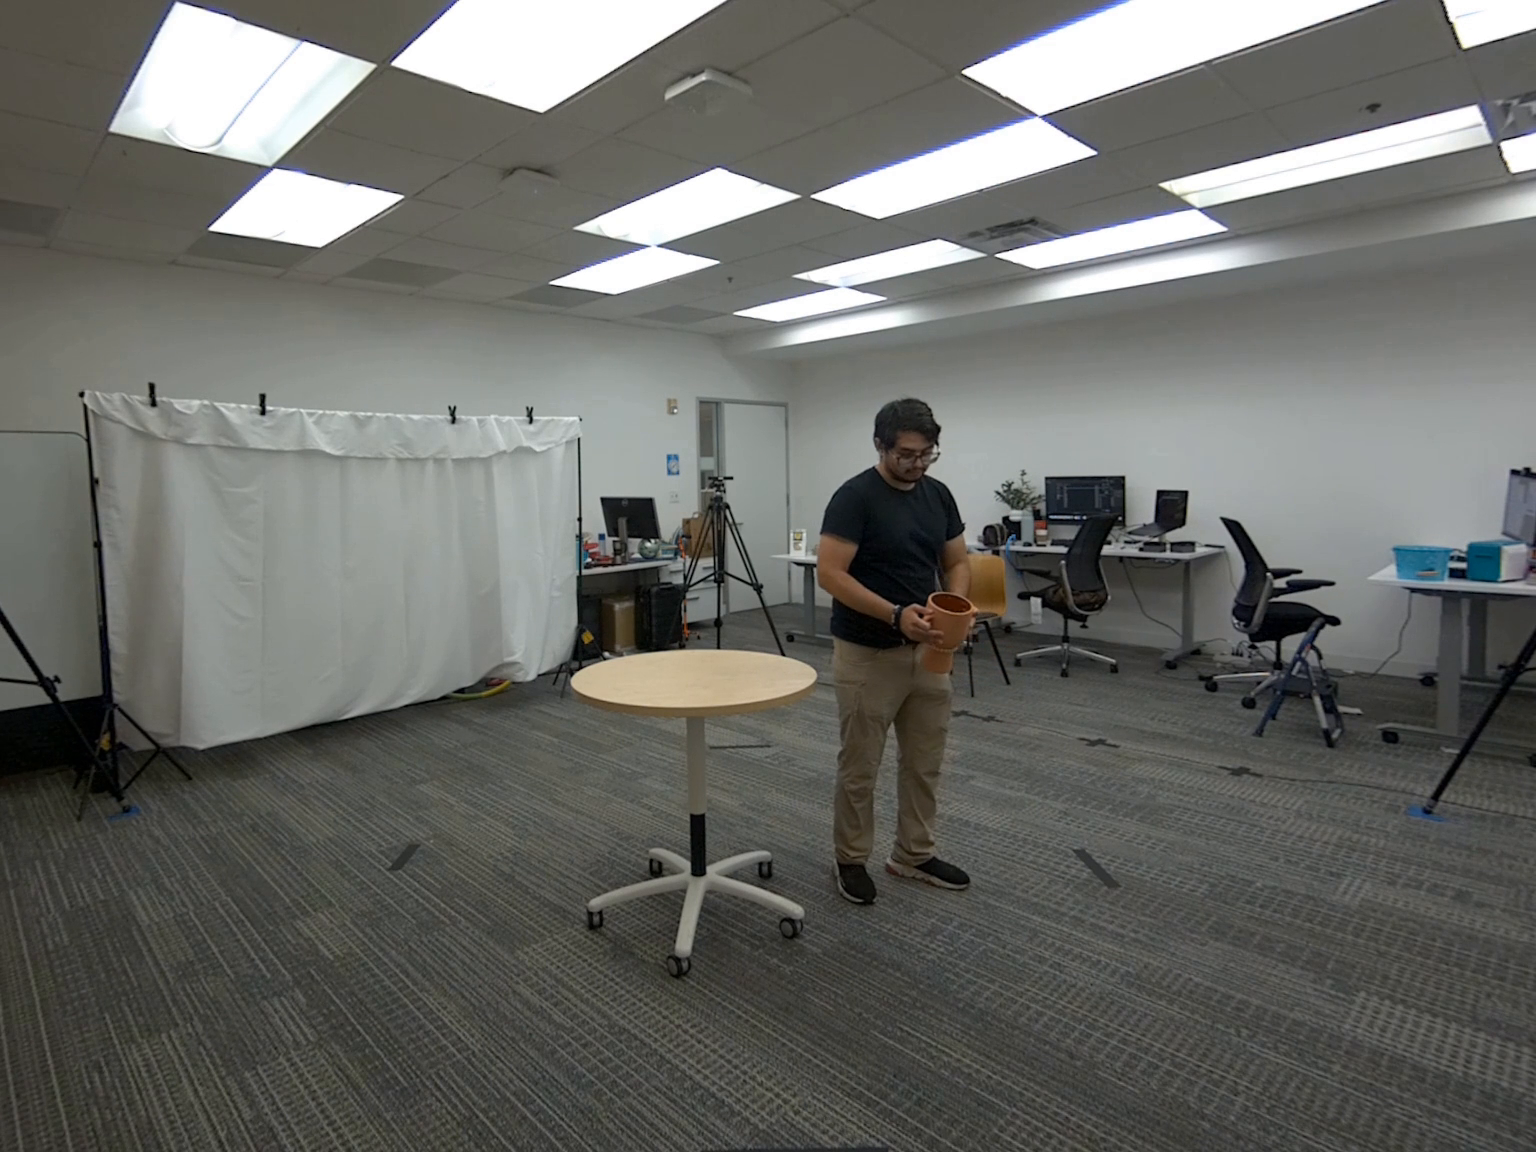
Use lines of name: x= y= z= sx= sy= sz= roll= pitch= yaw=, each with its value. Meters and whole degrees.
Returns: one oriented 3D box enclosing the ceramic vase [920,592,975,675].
ceramic vase: x=0.527 y=0.178 z=2.567 sx=0.159 sy=0.216 sz=0.137 roll=7 pitch=25 yaw=1
